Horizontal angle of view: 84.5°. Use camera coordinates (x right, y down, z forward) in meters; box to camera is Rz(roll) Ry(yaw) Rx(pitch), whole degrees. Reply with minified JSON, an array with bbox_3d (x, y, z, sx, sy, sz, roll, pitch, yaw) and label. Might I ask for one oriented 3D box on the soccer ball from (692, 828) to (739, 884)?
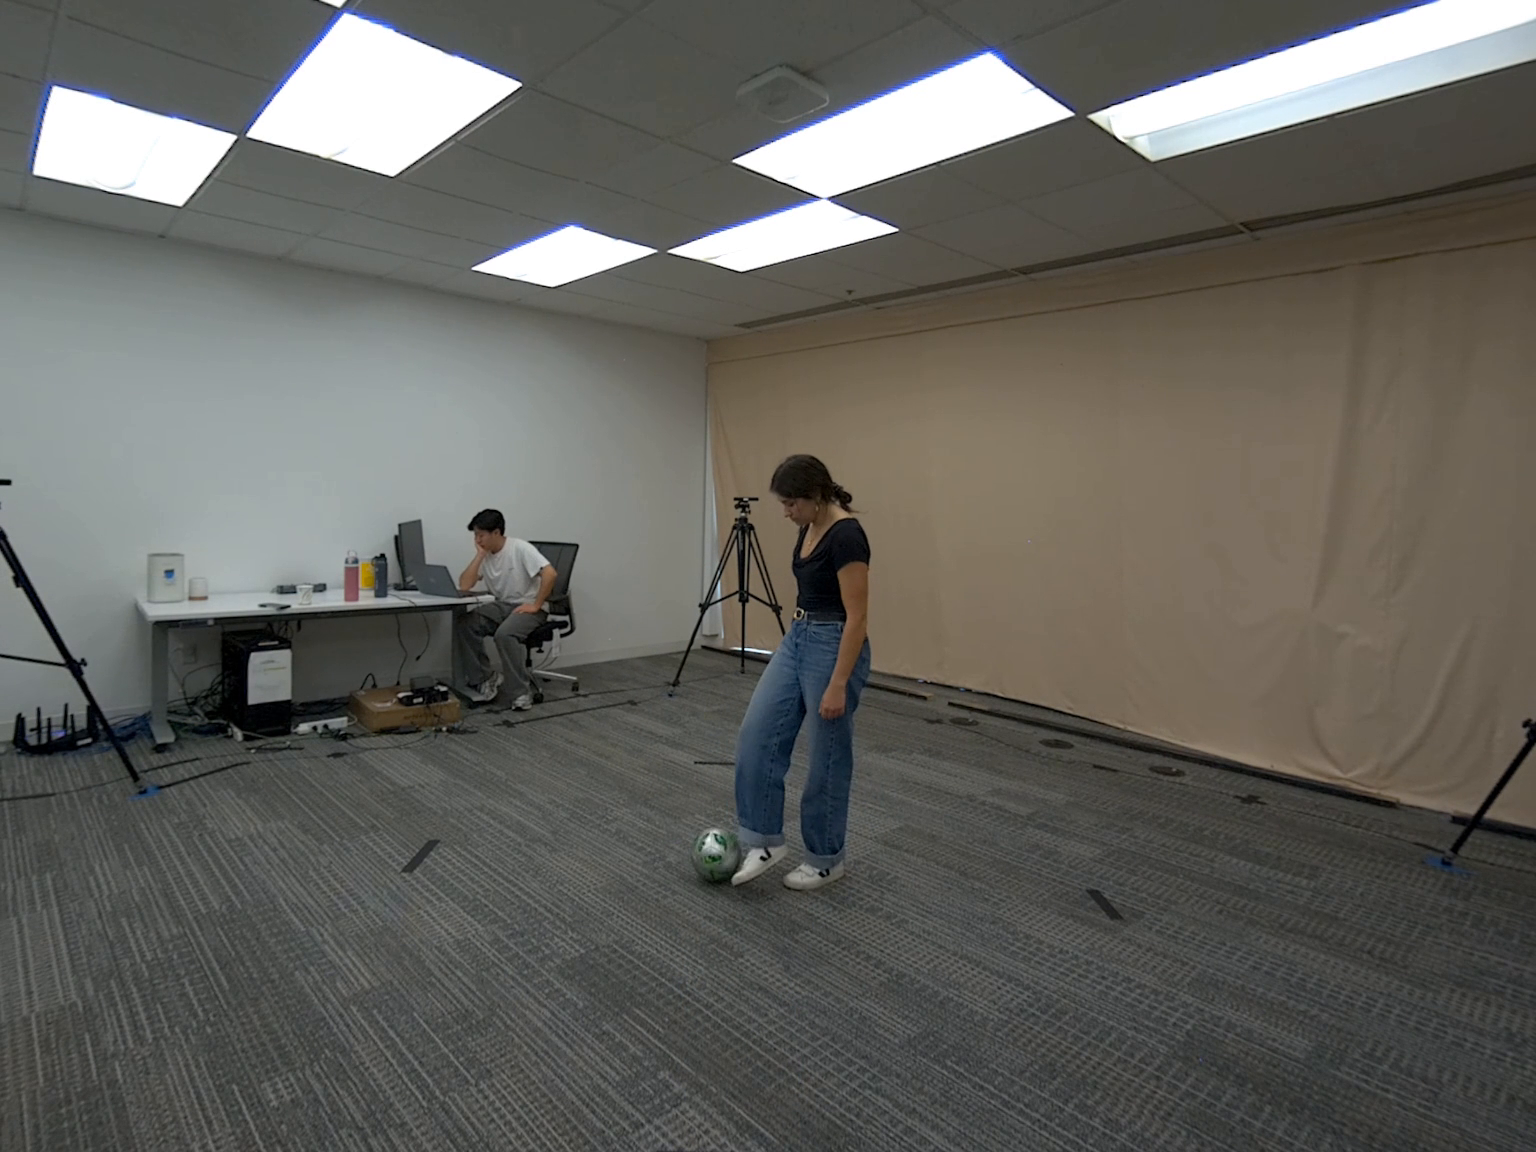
[{"bbox_3d":[-0.194,1.011,3.072,0.187,0.187,0.188,1,4,-1],"label":"soccer ball"}]
